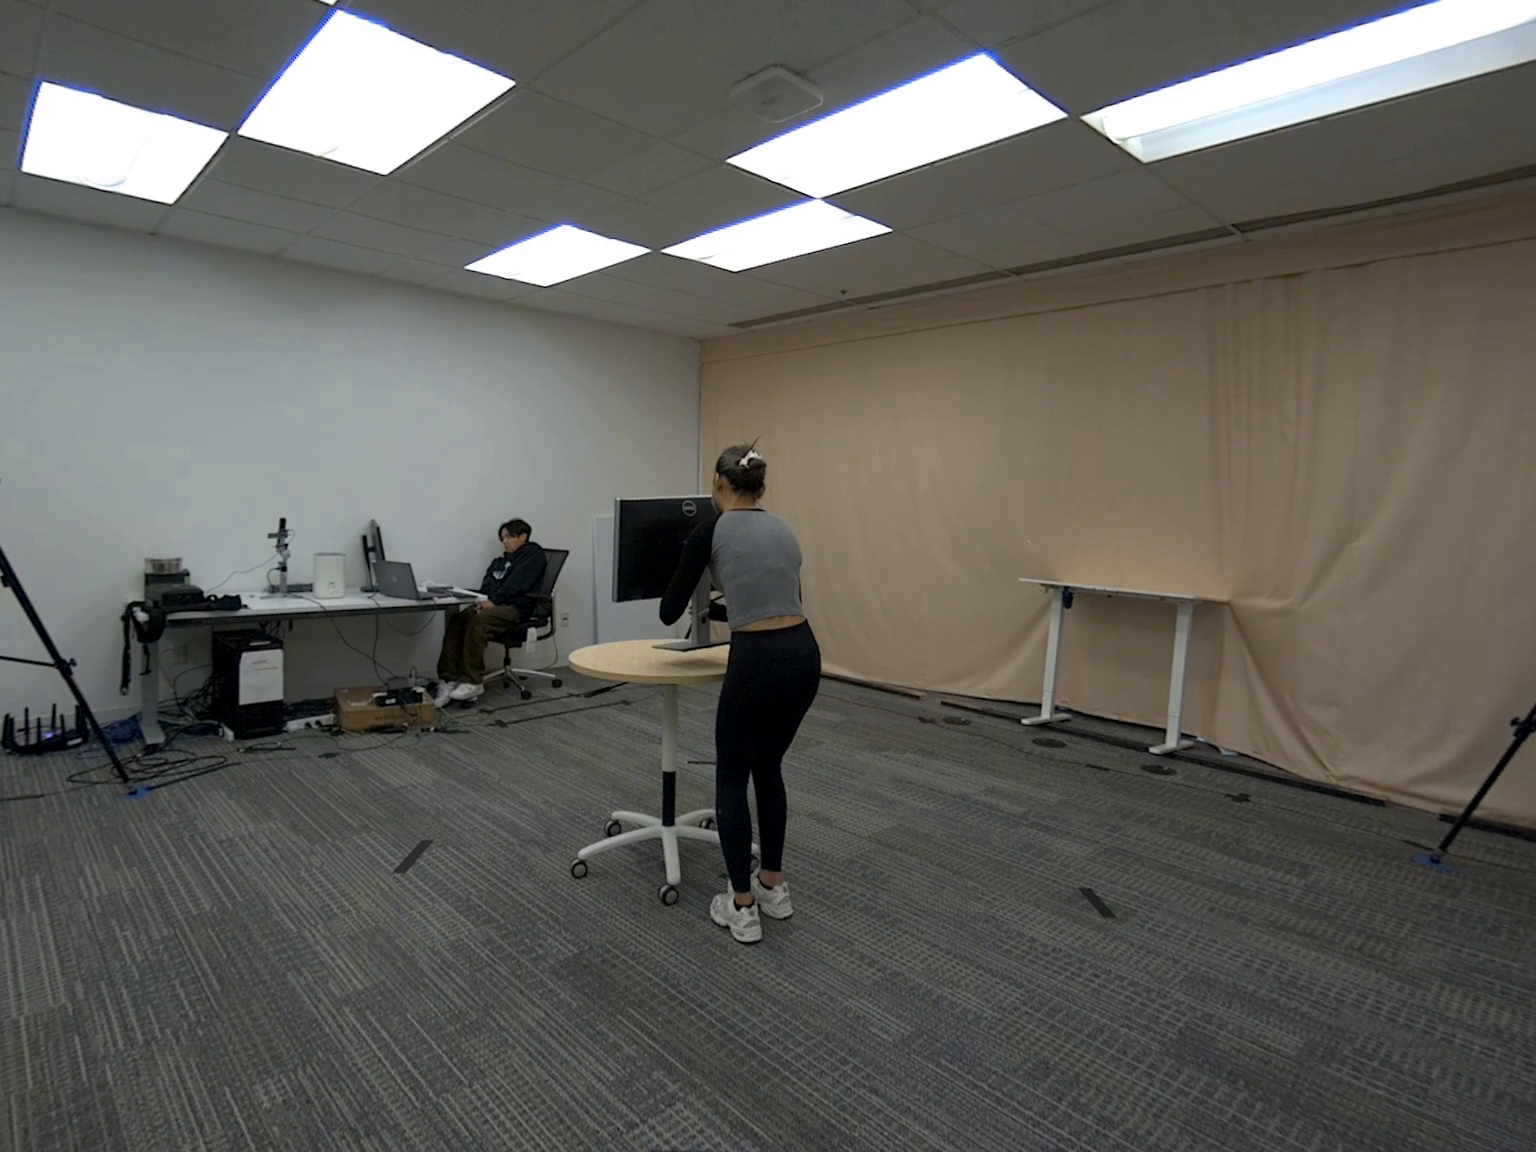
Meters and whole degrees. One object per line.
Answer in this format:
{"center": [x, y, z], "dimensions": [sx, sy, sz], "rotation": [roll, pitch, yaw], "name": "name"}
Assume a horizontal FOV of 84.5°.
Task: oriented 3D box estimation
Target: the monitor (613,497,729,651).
{"center": [-0.285, -0.015, 3.021], "dimensions": [0.527, 0.522, 0.191], "rotation": [-5, 1, -39], "name": "monitor"}
